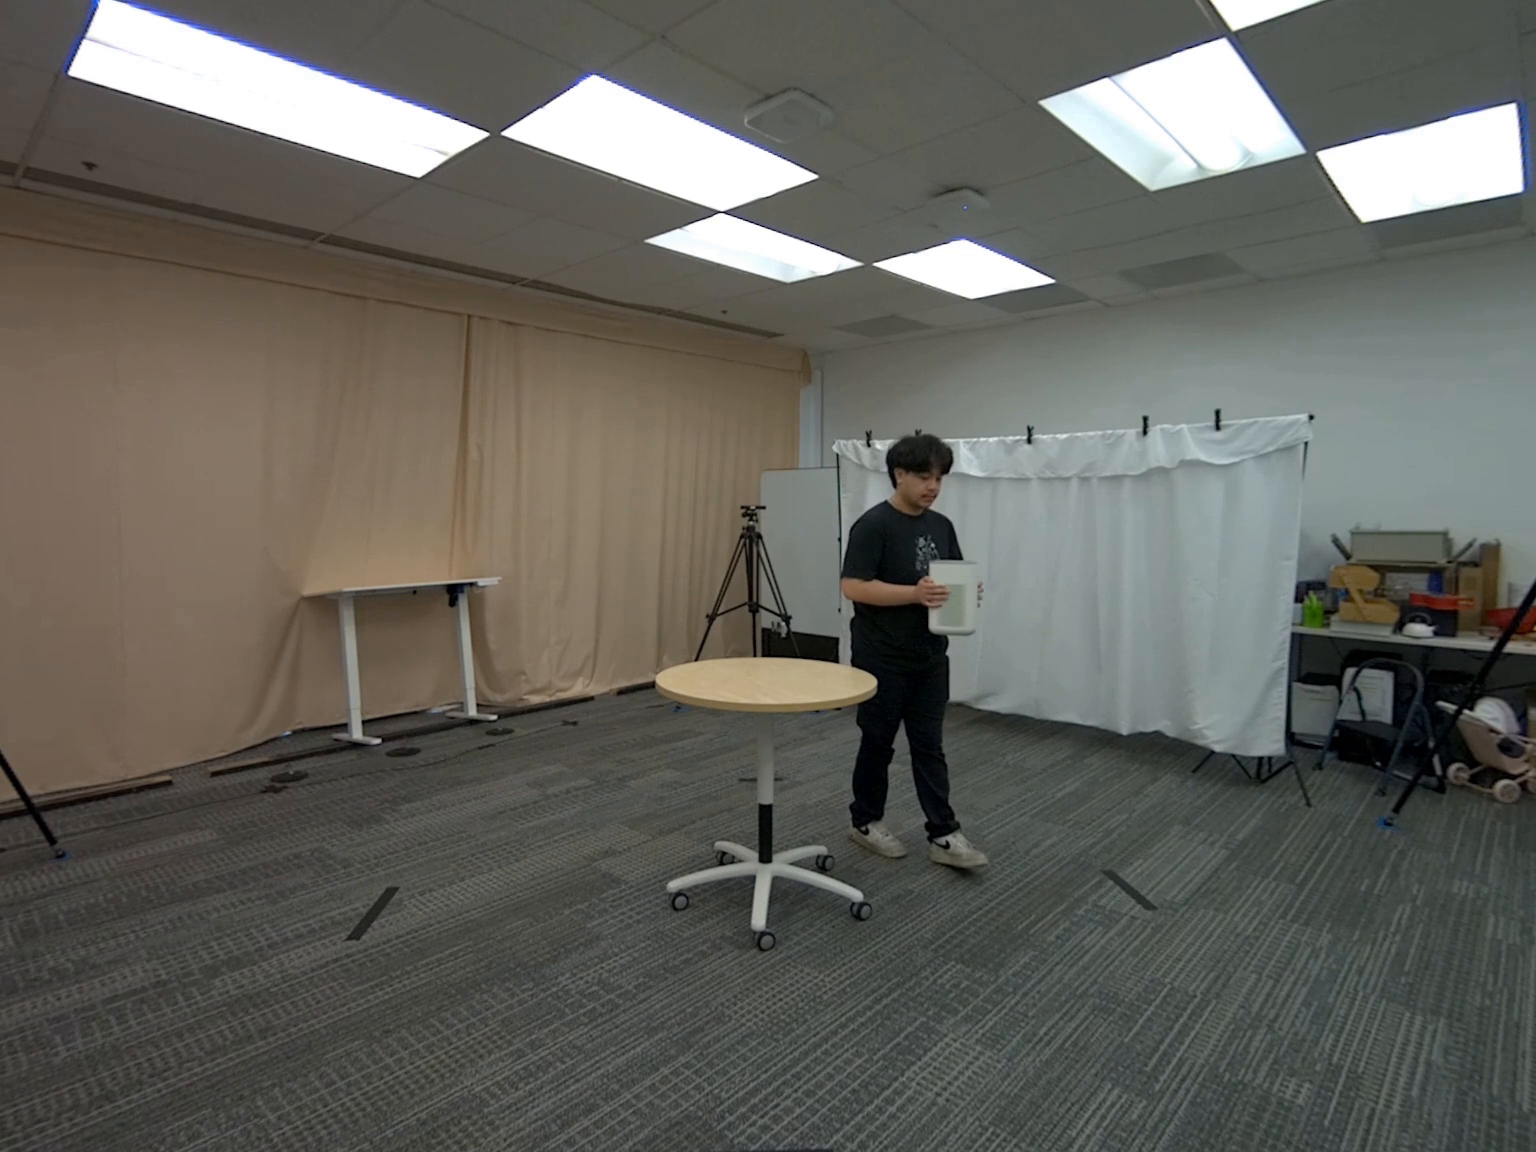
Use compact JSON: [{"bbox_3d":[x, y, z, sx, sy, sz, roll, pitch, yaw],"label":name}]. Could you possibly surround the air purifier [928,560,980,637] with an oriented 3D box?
[{"bbox_3d":[0.687,0.078,3.099,0.175,0.265,0.168,1,2,19],"label":"air purifier"}]
